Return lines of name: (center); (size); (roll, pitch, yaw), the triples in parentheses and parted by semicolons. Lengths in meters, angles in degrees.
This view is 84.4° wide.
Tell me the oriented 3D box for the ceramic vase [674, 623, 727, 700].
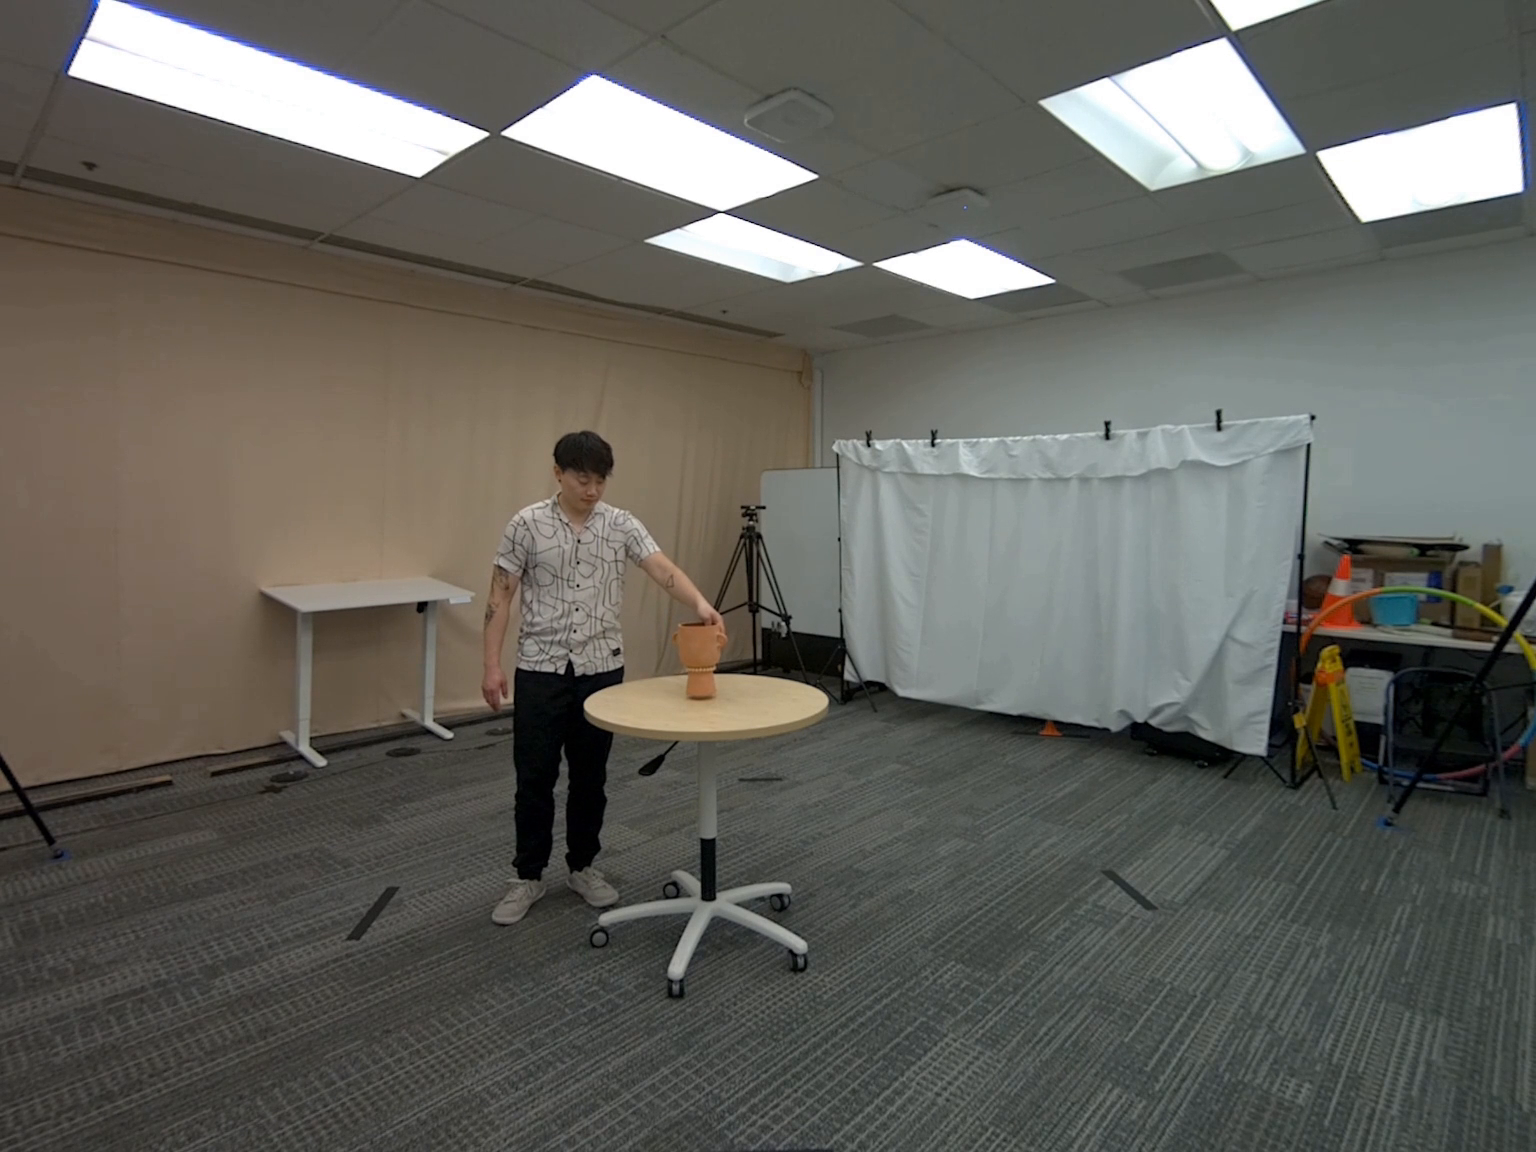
ceramic vase: (-0.215, 0.266, 2.663); (0.131, 0.219, 0.163); (-3, 2, -27)
